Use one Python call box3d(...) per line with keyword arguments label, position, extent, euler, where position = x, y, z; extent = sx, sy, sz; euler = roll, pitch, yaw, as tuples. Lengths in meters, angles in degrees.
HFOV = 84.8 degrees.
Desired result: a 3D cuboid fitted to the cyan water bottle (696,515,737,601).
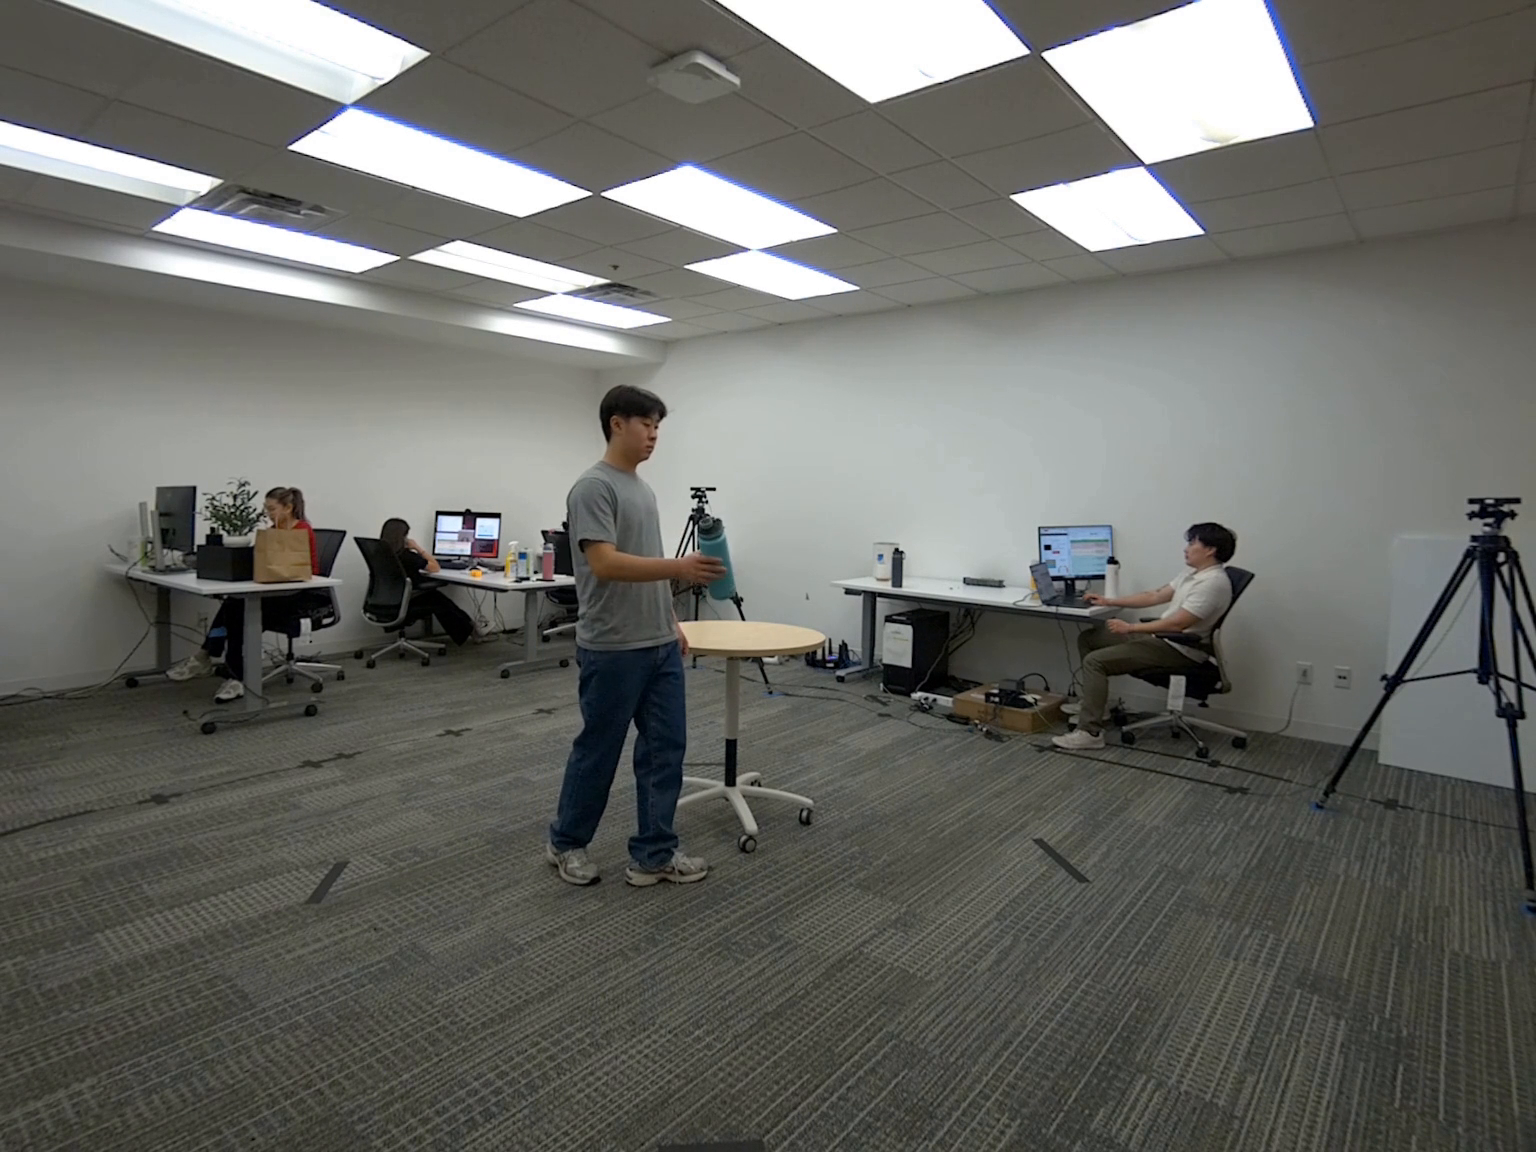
box3d(label="cyan water bottle", position=(-0.179, -0.065, 2.698), extent=(0.092, 0.275, 0.095), euler=(-6, 30, 2))
